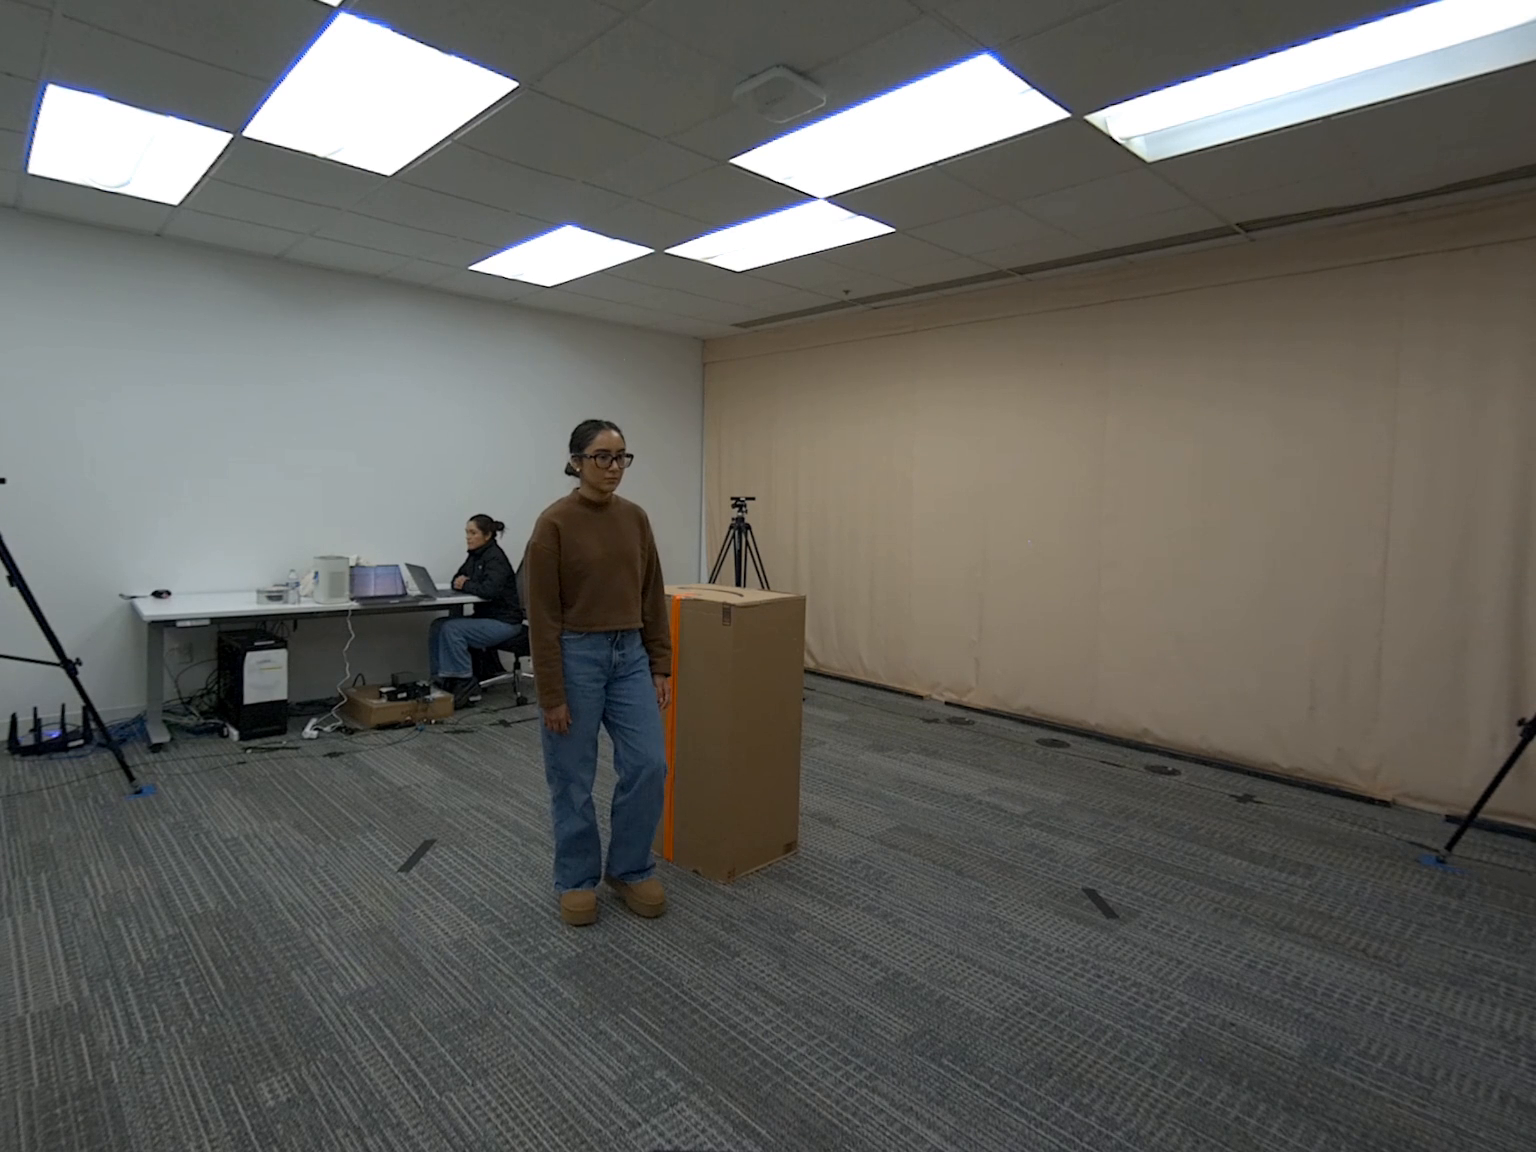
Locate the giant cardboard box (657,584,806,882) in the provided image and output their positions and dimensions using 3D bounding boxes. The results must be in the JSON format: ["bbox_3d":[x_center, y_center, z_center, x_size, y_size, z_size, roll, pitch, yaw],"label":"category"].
[{"bbox_3d":[-0.222,0.574,3.342,0.592,1.023,0.416,4,5,43],"label":"giant cardboard box"}]
